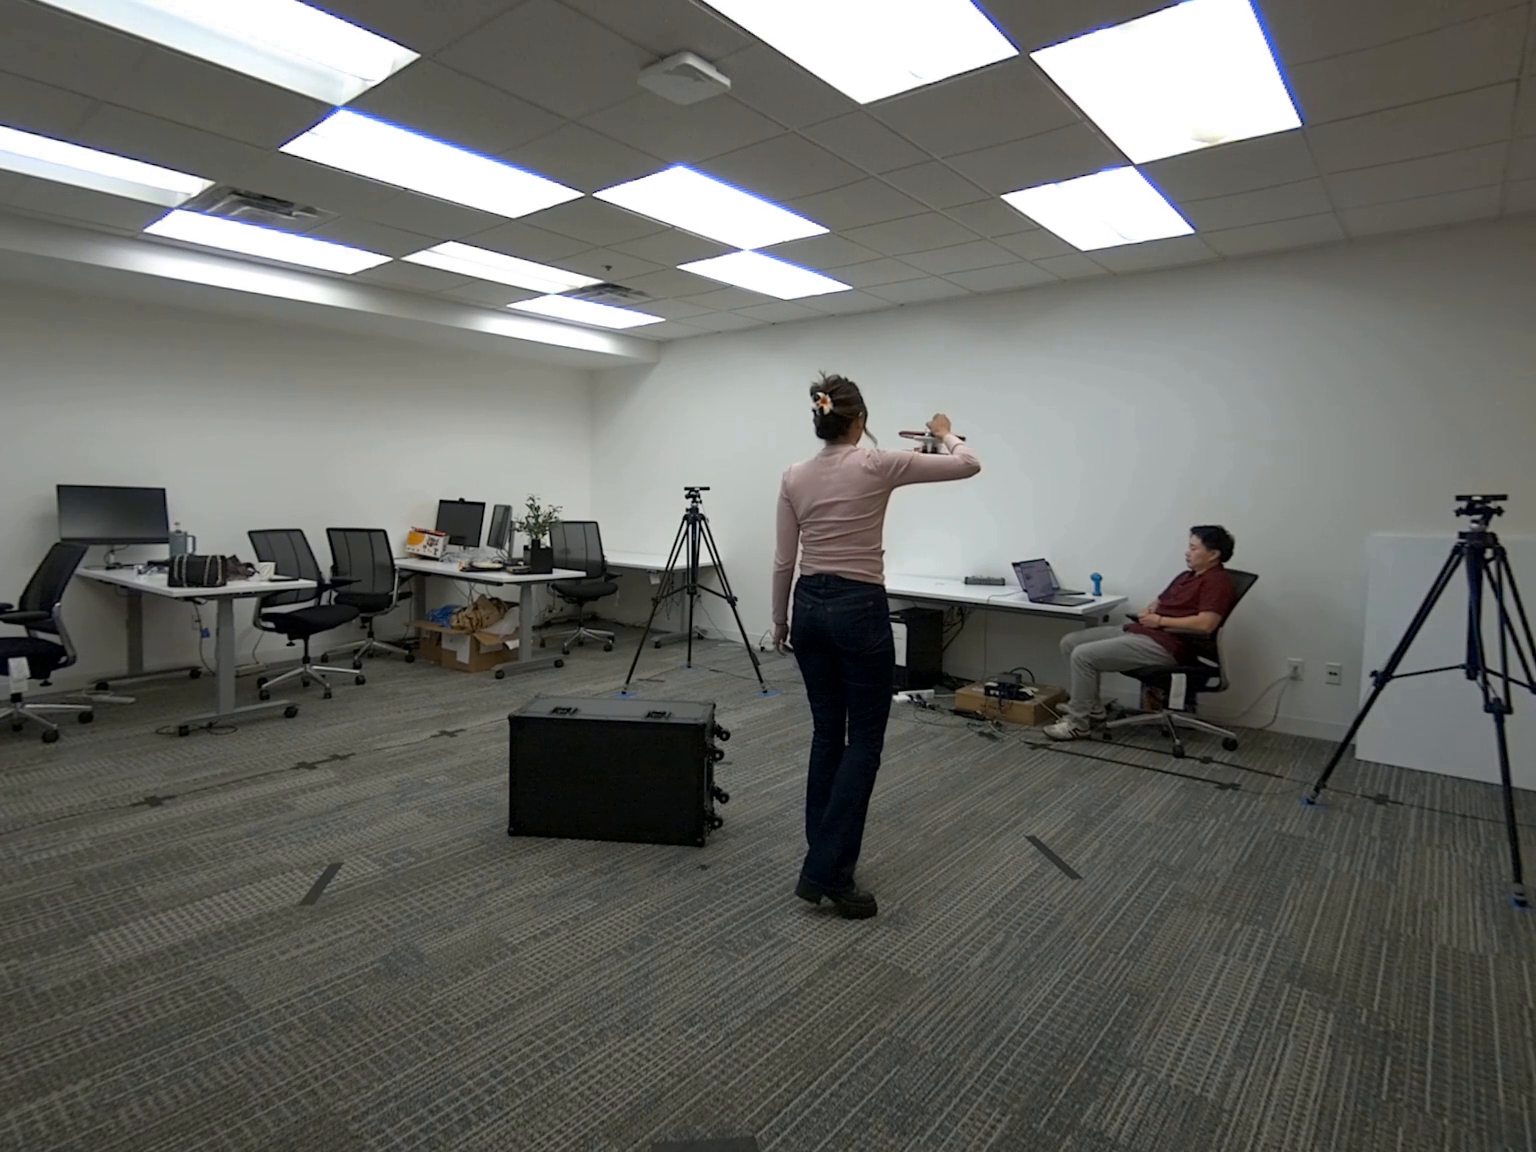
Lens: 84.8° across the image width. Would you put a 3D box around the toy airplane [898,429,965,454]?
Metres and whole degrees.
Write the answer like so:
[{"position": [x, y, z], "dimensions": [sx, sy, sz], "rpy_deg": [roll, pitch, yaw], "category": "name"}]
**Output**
[{"position": [0.632, -0.495, 3.261], "dimensions": [0.247, 0.158, 0.260], "rpy_deg": [15, -16, -13], "category": "toy airplane"}]
